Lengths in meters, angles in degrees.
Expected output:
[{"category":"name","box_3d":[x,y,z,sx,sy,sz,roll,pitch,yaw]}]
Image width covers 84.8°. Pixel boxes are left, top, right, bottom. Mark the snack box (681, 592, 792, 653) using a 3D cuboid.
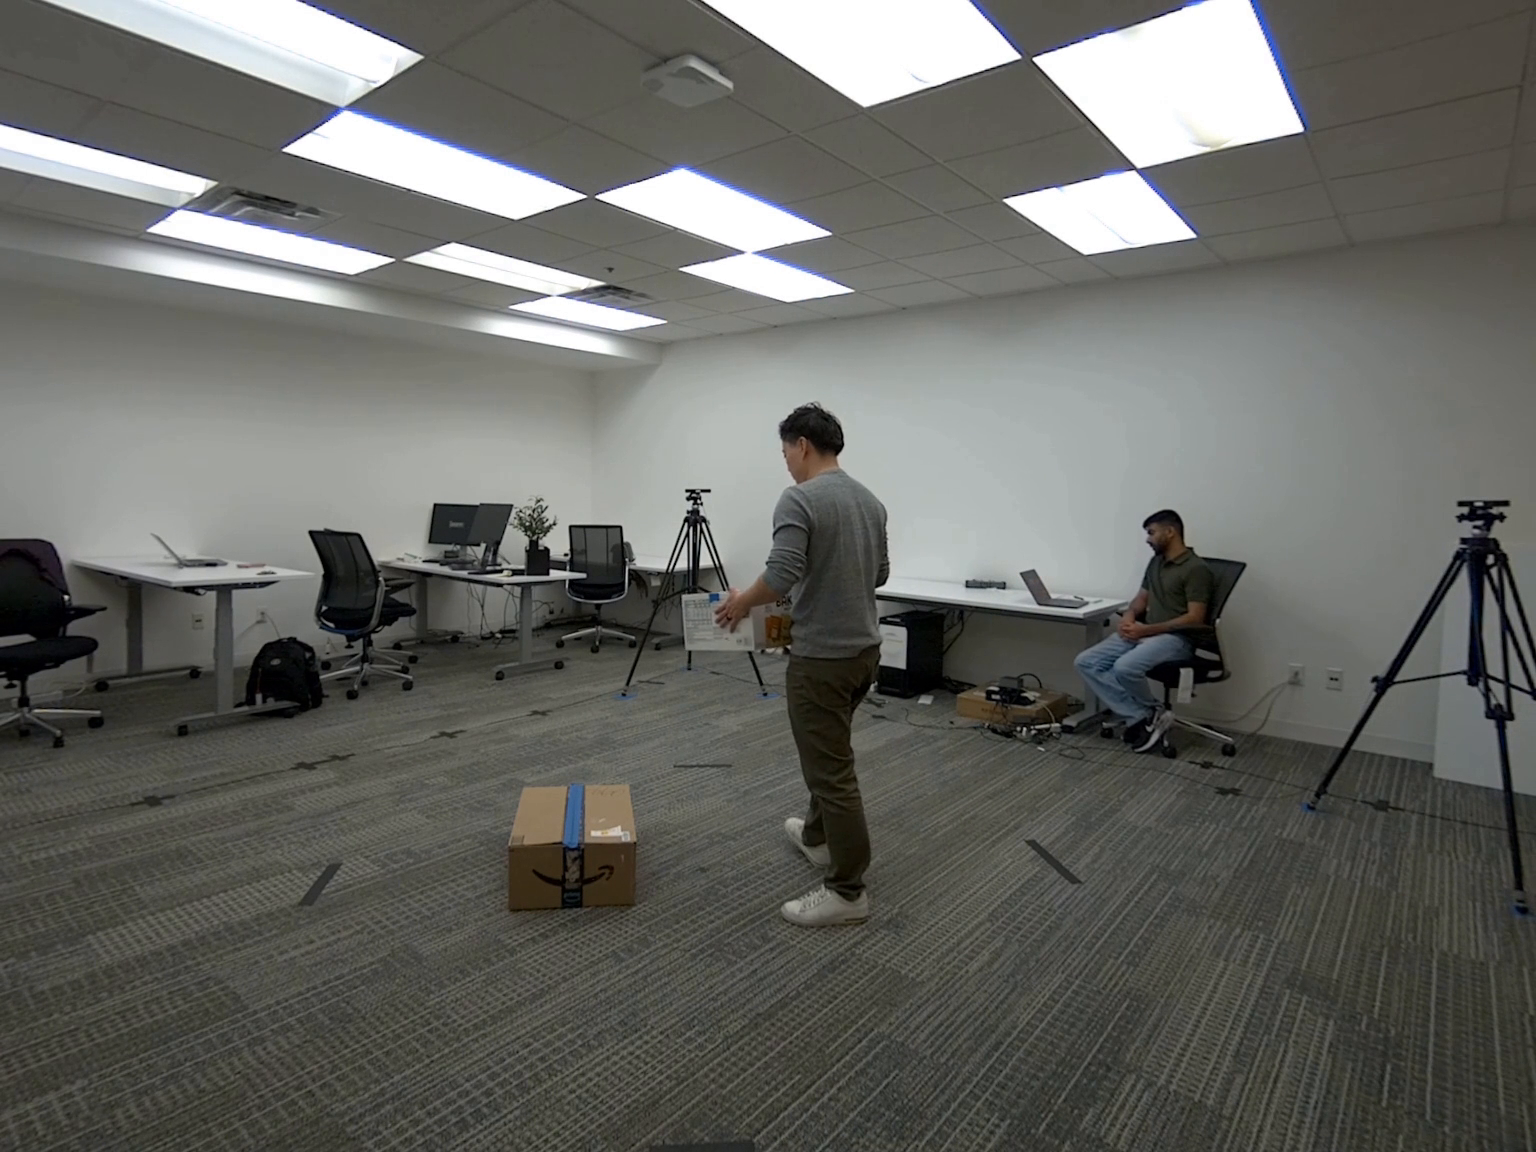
[{"category":"snack box","box_3d":[-0.071,0.145,3.111,0.350,0.206,0.393,-4,1,39]}]
